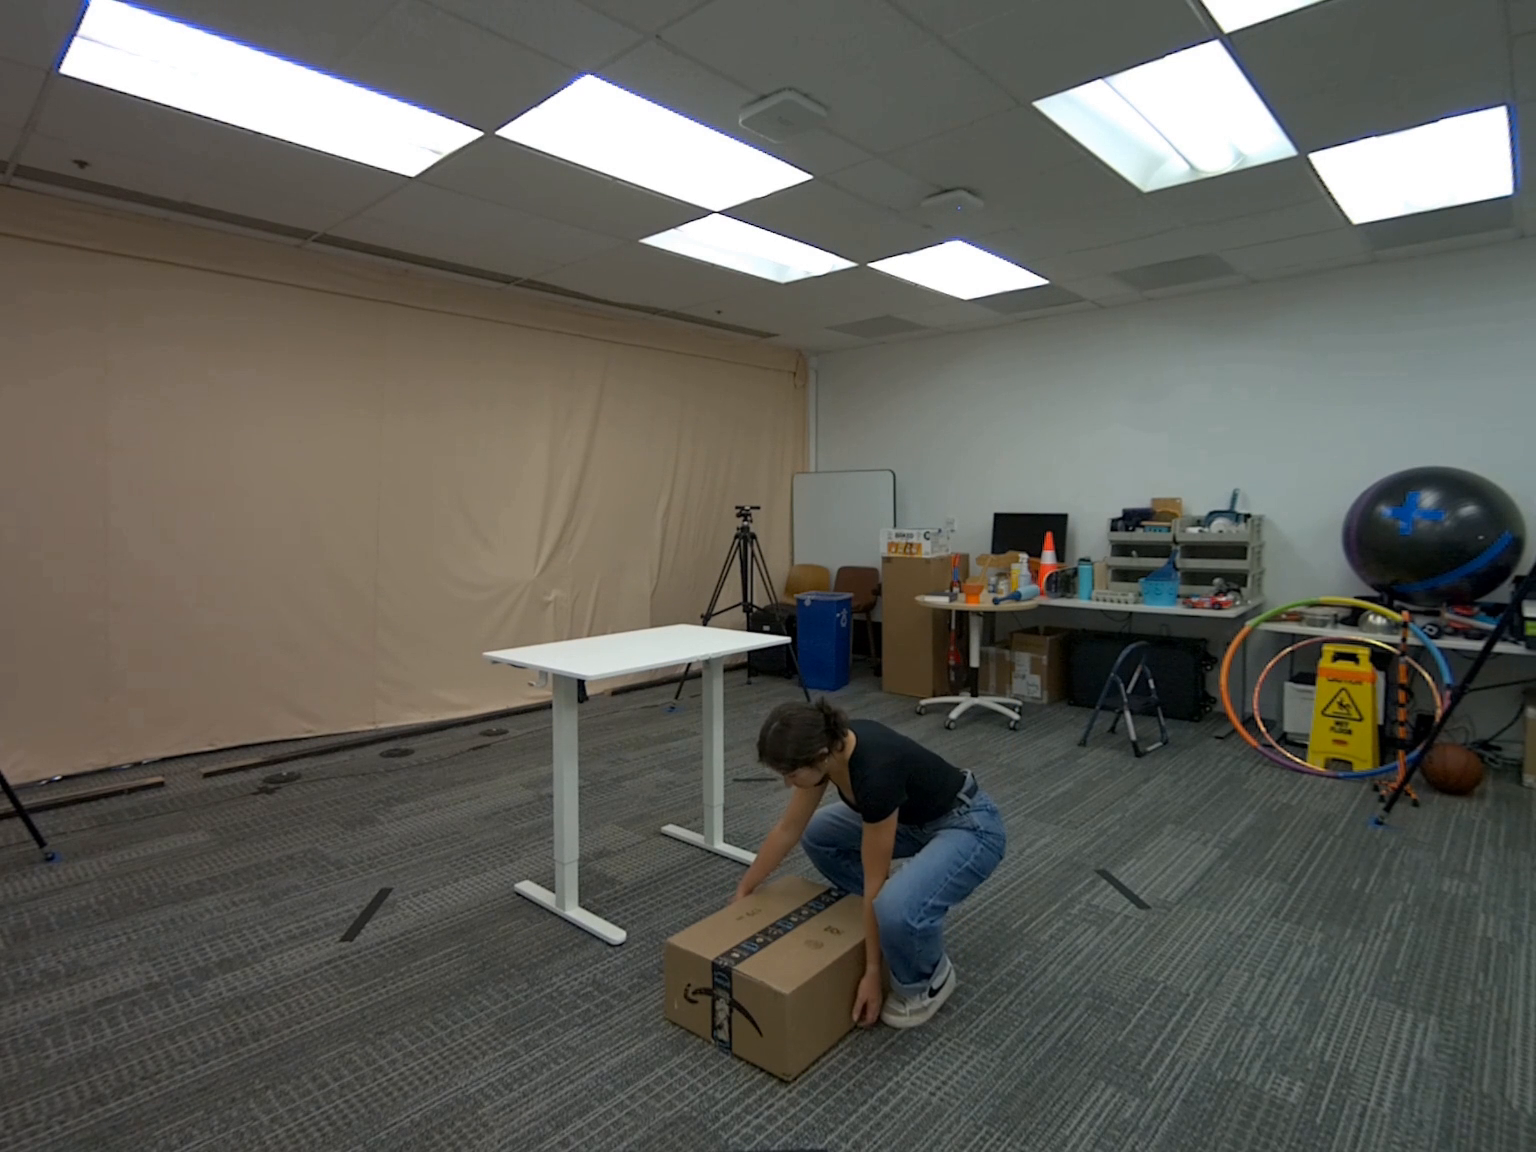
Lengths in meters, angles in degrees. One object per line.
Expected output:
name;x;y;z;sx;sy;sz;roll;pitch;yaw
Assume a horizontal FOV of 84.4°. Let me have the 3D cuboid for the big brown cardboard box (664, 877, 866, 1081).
big brown cardboard box;0.053;1.085;2.358;0.431;0.232;0.571;2;5;40
